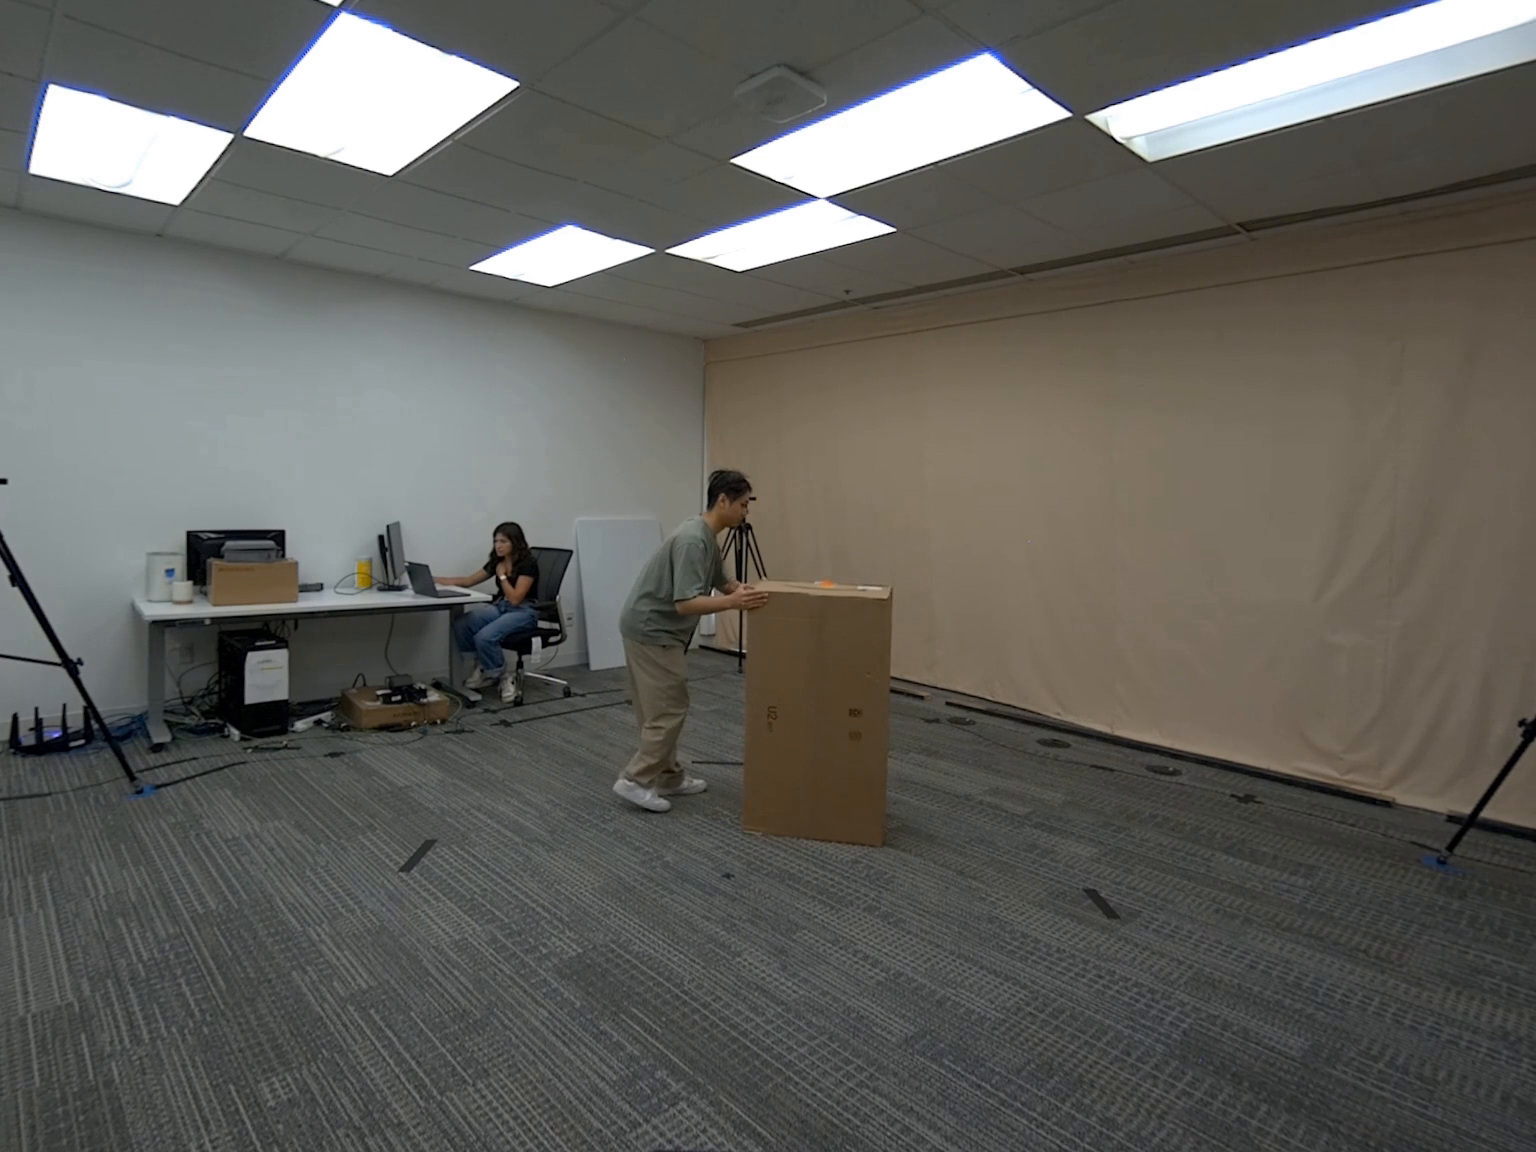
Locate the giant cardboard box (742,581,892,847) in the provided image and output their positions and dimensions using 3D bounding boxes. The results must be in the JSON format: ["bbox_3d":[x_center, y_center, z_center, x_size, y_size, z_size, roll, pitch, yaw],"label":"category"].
[{"bbox_3d":[0.216,0.558,3.623,0.583,1.022,0.423,2,5,12],"label":"giant cardboard box"}]
